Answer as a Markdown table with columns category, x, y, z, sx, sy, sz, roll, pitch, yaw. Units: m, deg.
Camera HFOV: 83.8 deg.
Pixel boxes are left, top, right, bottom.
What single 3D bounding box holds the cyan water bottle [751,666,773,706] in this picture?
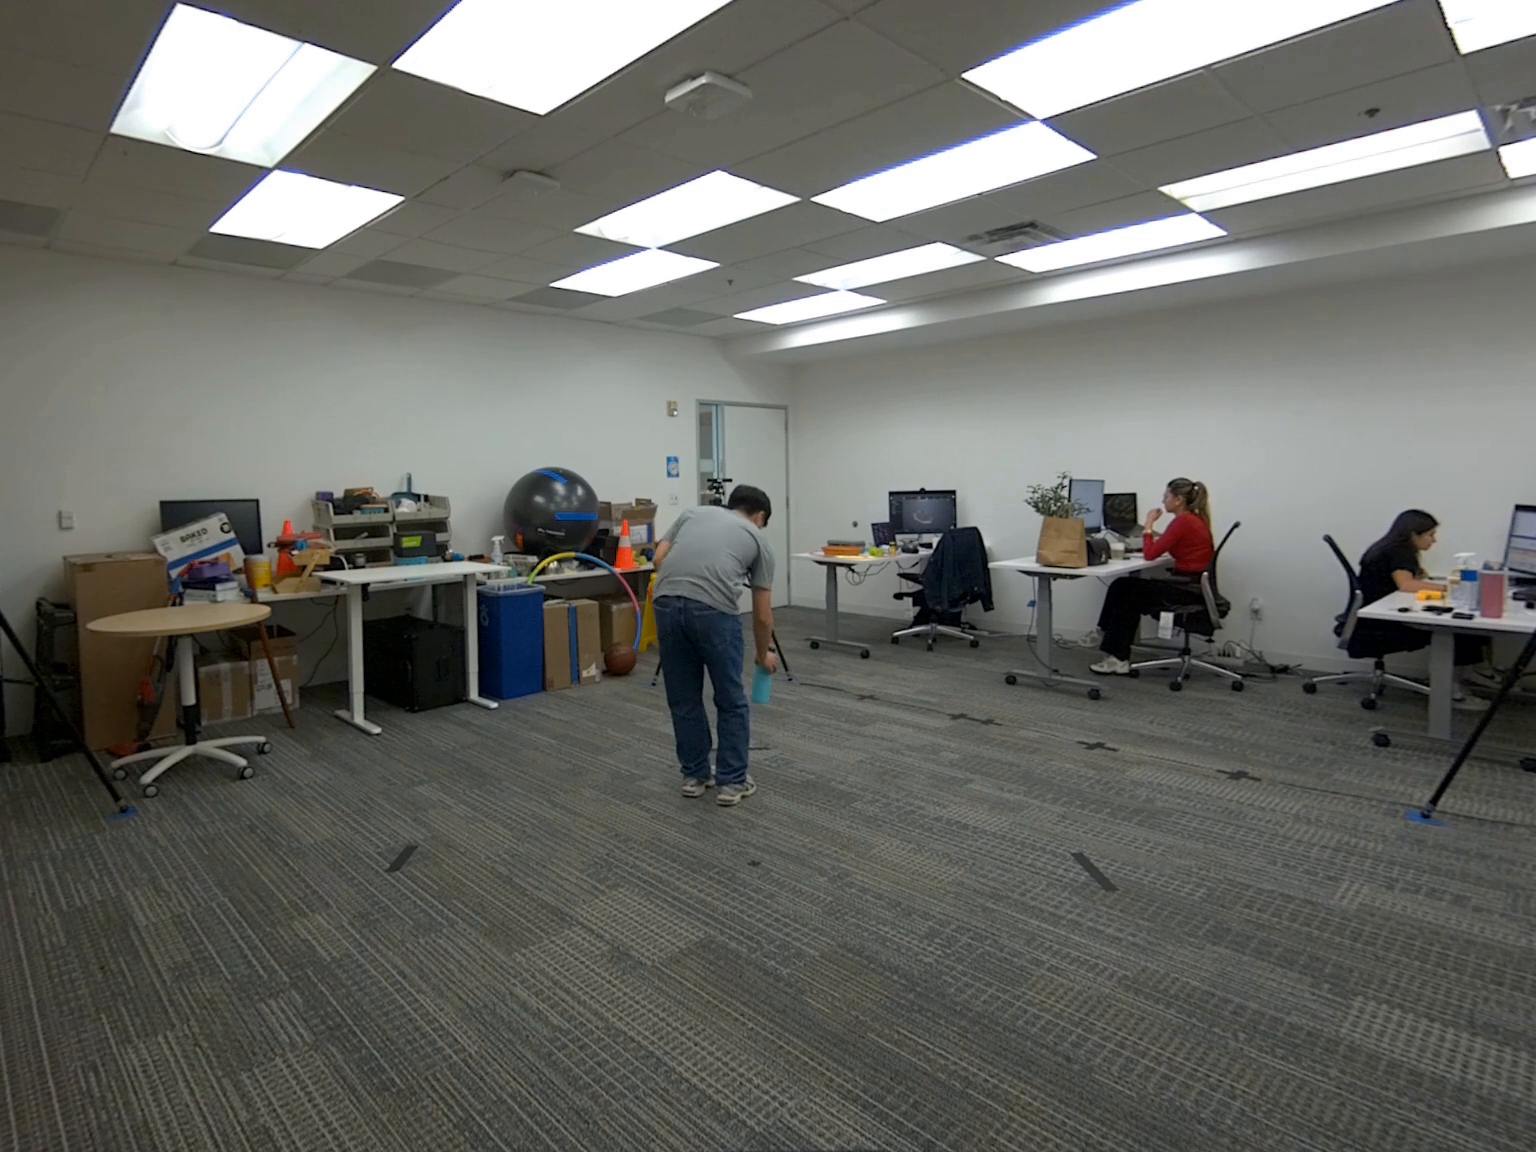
| category | x | y | z | sx | sy | sz | roll | pitch | yaw |
| --- | --- | --- | --- | --- | --- | --- | --- | --- | --- |
| cyan water bottle | -0.022 | 0.474 | 4.119 | 0.092 | 0.284 | 0.092 | 5 | -4 | -1 |
